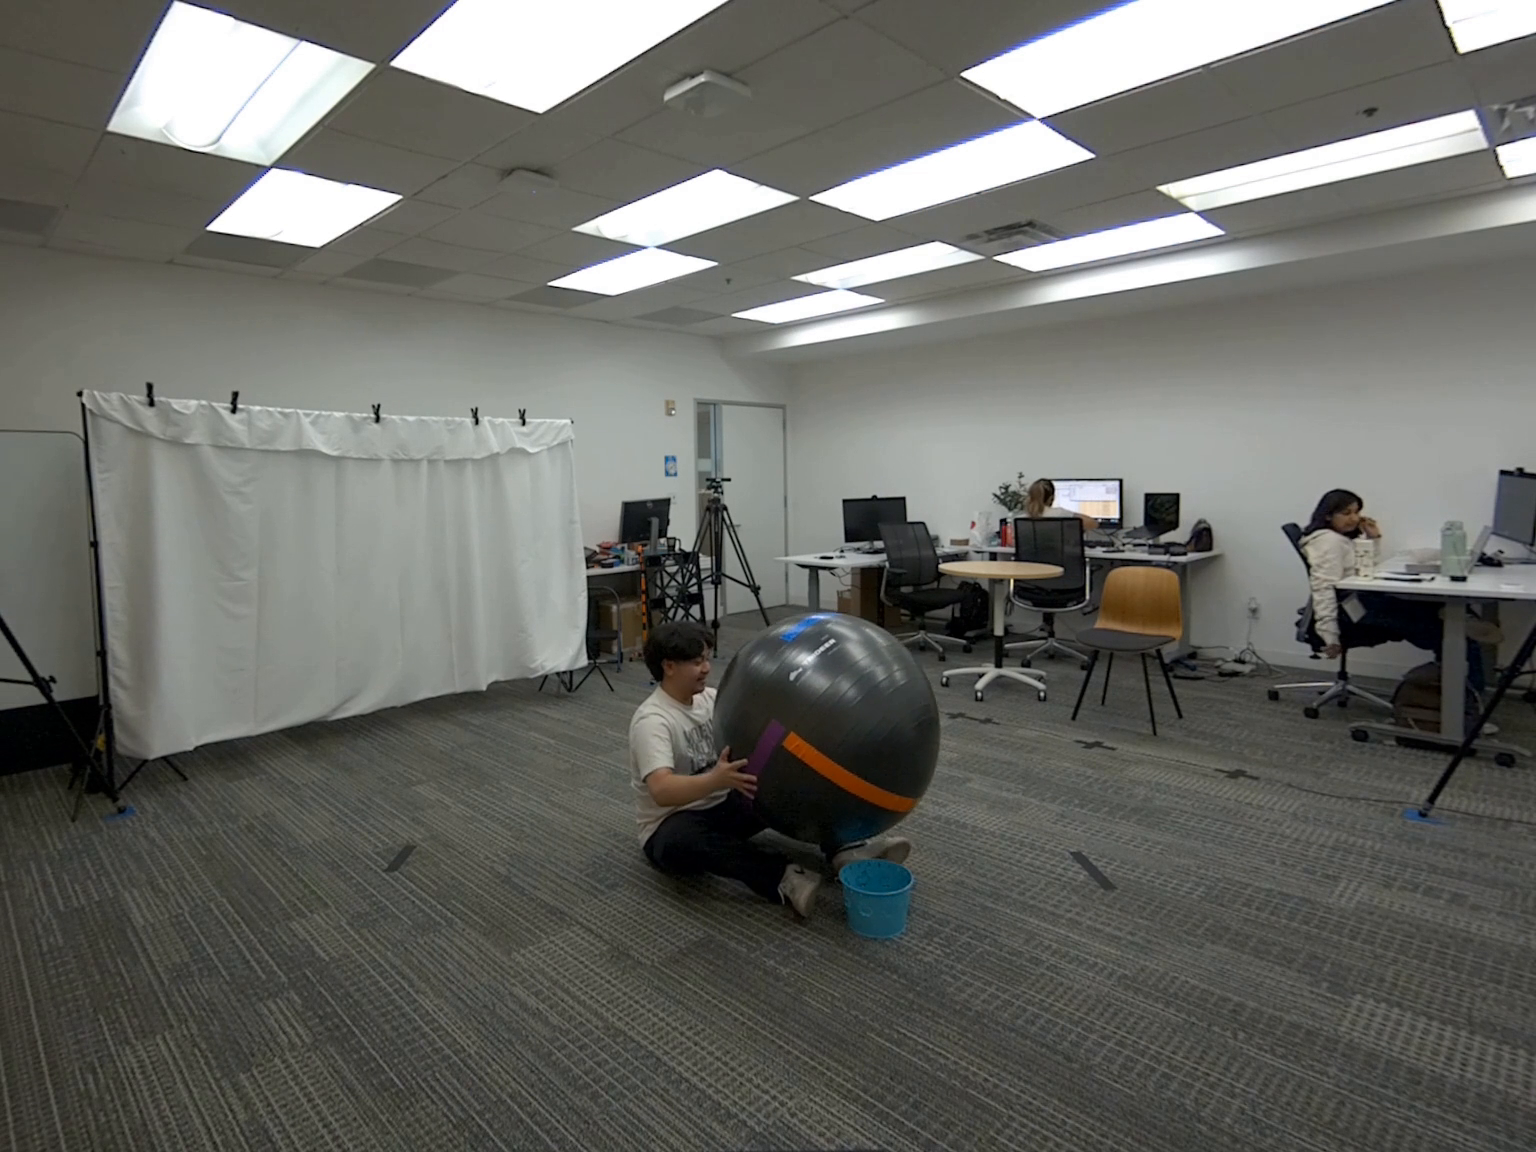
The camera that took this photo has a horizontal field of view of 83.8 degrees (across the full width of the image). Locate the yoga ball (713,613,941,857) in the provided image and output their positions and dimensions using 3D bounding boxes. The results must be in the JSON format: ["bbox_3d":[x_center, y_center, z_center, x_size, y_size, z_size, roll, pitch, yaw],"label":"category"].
[{"bbox_3d":[0.195,0.500,2.873,0.757,0.755,0.762,-1,5,-2],"label":"yoga ball"}]
